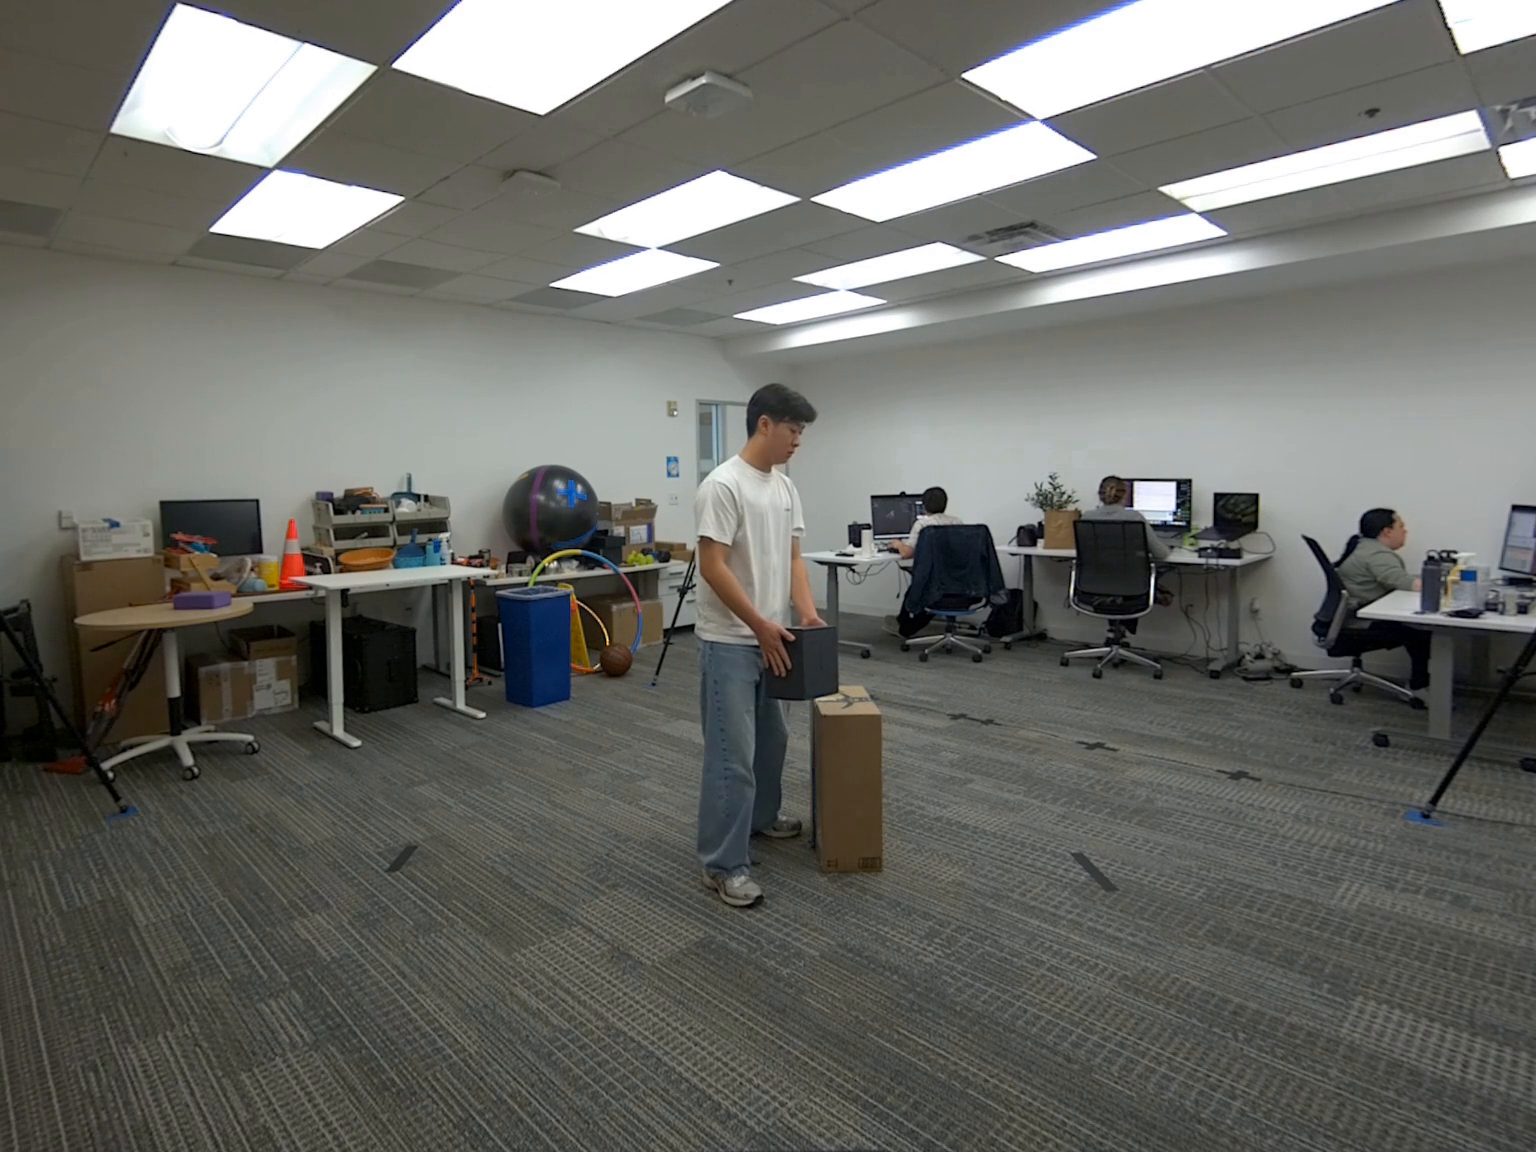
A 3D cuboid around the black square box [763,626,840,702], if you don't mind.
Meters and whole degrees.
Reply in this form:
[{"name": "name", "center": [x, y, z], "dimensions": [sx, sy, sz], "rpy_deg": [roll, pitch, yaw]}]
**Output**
[{"name": "black square box", "center": [0.112, 0.283, 2.852], "dimensions": [0.160, 0.228, 0.211], "rpy_deg": [-2, -3, 33]}]
